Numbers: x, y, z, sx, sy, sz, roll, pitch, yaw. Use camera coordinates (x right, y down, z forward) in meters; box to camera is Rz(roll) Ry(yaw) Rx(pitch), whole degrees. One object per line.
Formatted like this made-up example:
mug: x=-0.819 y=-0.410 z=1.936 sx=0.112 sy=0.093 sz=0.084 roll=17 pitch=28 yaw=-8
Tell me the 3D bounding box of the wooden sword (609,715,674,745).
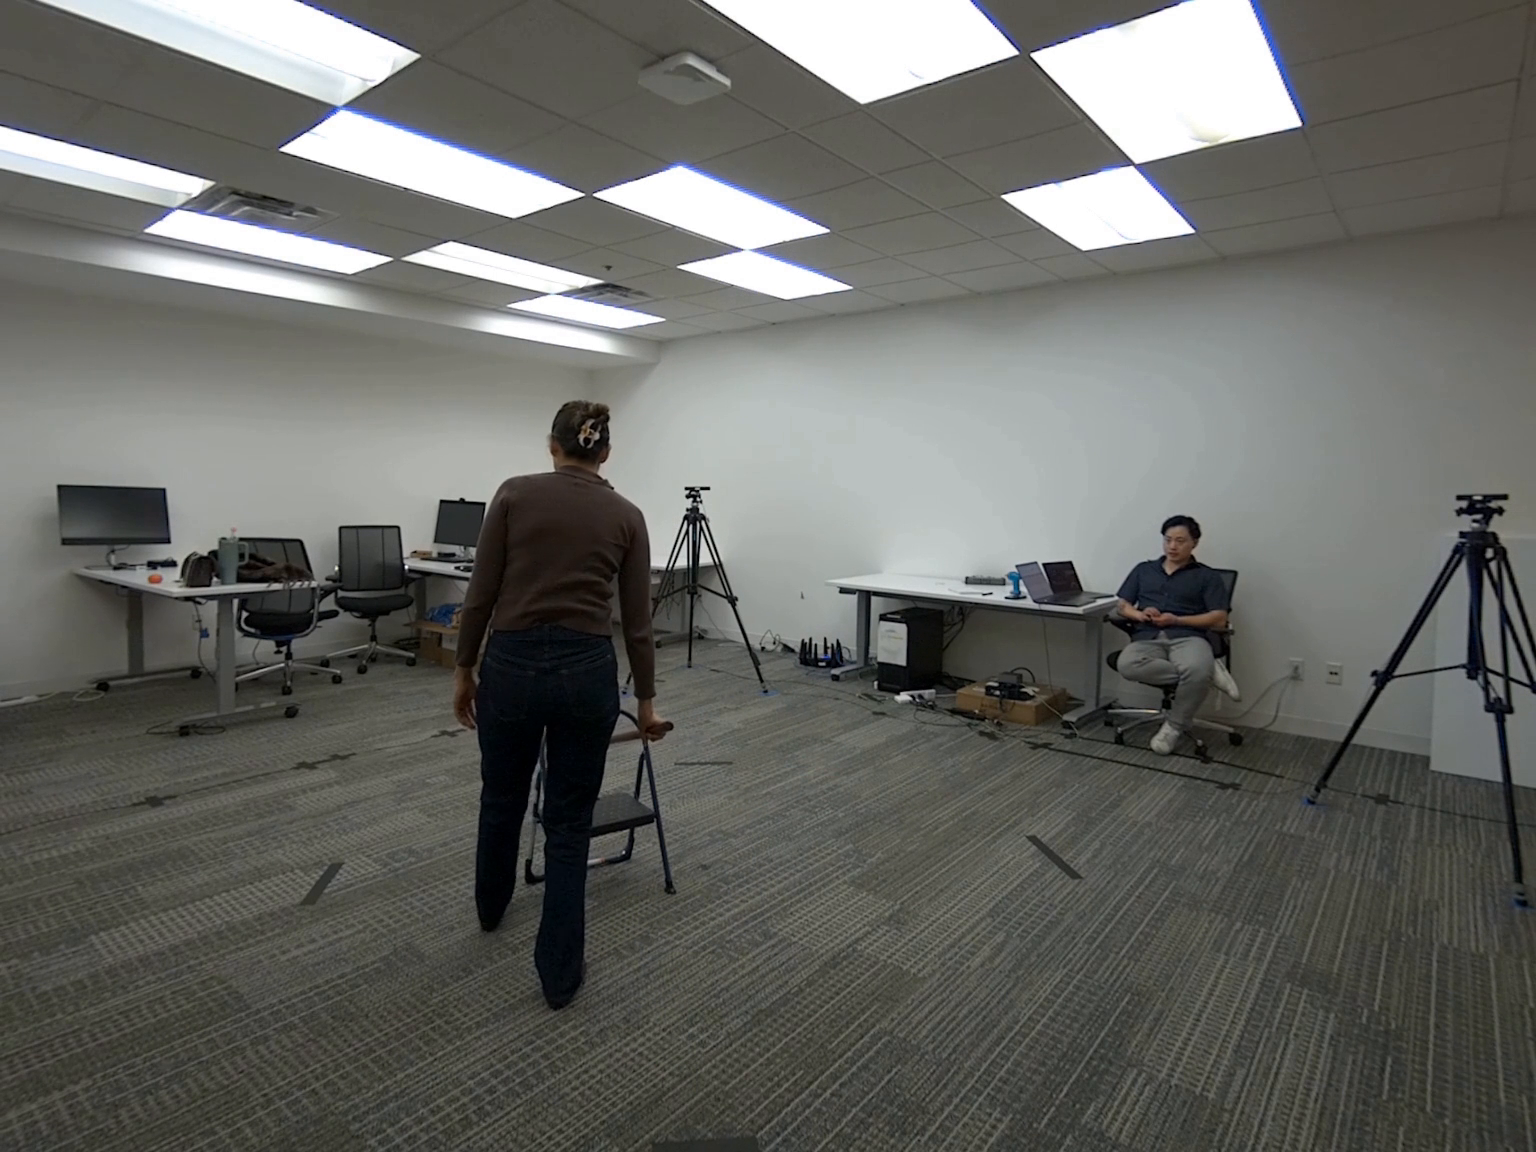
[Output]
wooden sword: x=-0.524 y=0.522 z=2.798 sx=0.024 sy=0.051 sz=1.036 roll=-39 pitch=7 yaw=-29
